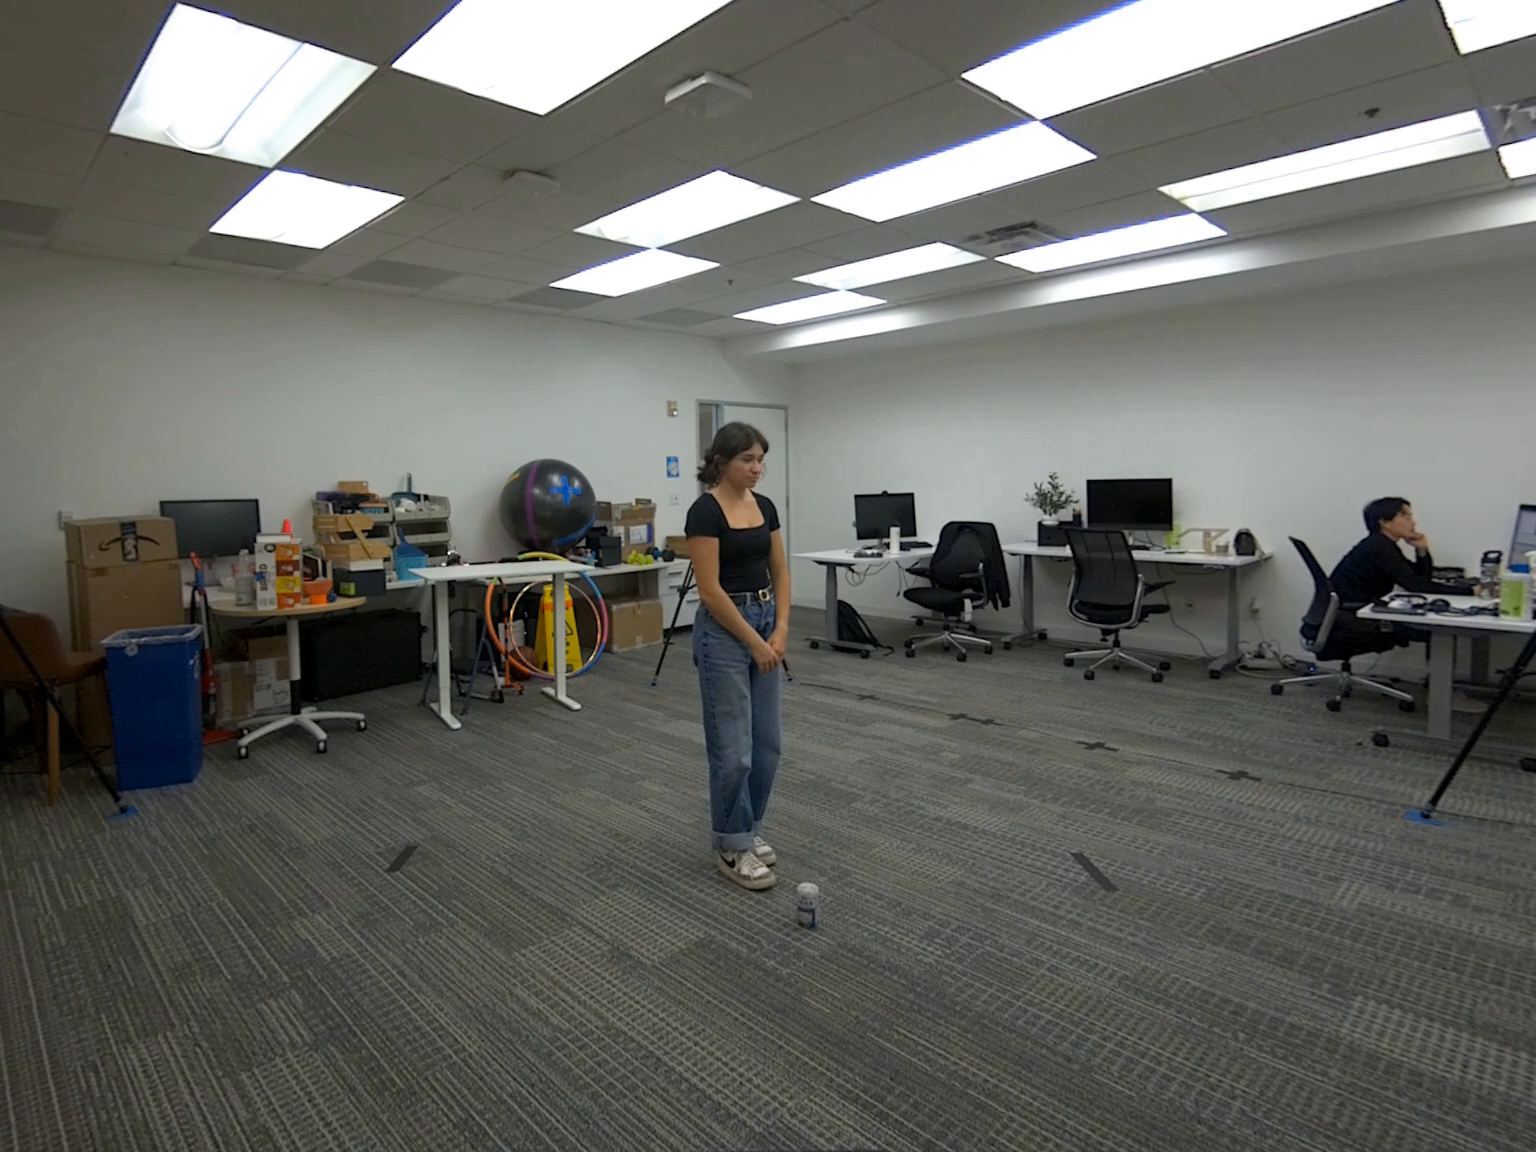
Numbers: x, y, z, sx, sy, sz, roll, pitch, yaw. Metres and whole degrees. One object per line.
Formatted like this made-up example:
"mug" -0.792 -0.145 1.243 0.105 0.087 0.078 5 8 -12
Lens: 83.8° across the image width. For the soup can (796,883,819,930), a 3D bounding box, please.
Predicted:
"soup can" 0.126 1.038 2.673 0.067 0.121 0.067 -3 7 -1
